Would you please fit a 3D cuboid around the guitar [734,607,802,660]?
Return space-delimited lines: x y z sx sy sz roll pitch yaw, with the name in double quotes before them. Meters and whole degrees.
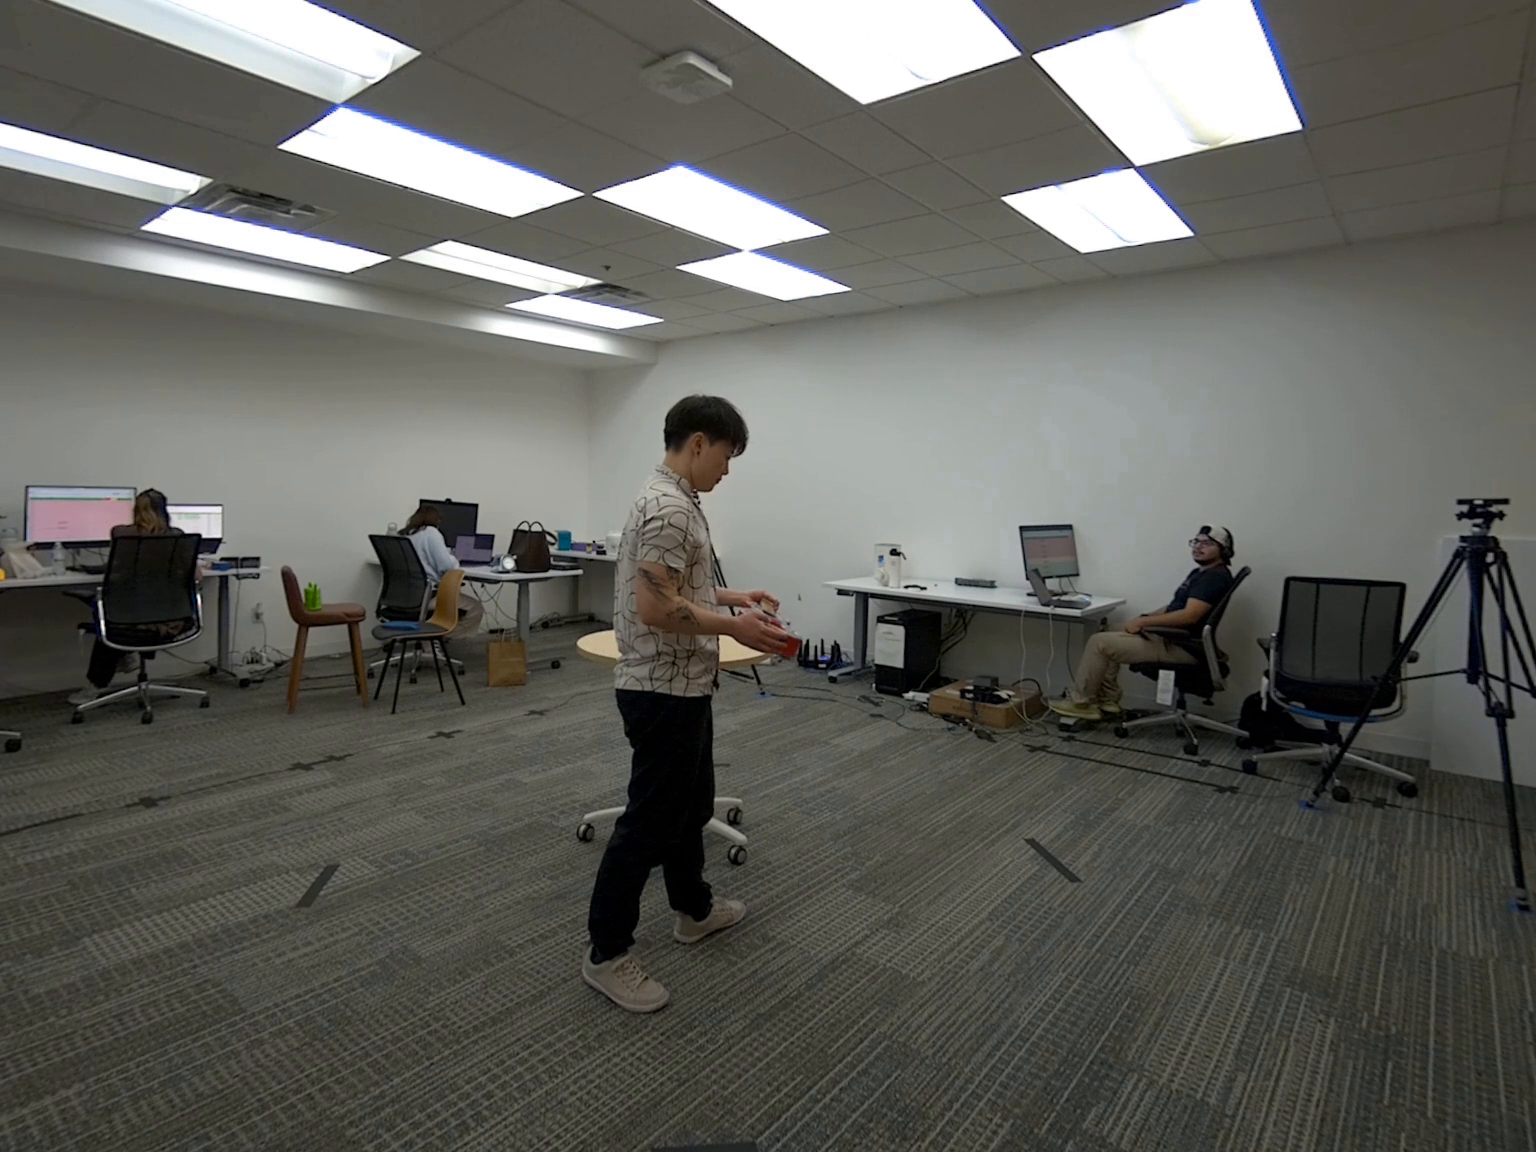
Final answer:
"guitar" 0.004 0.133 2.554 0.194 0.070 0.496 24 9 4
